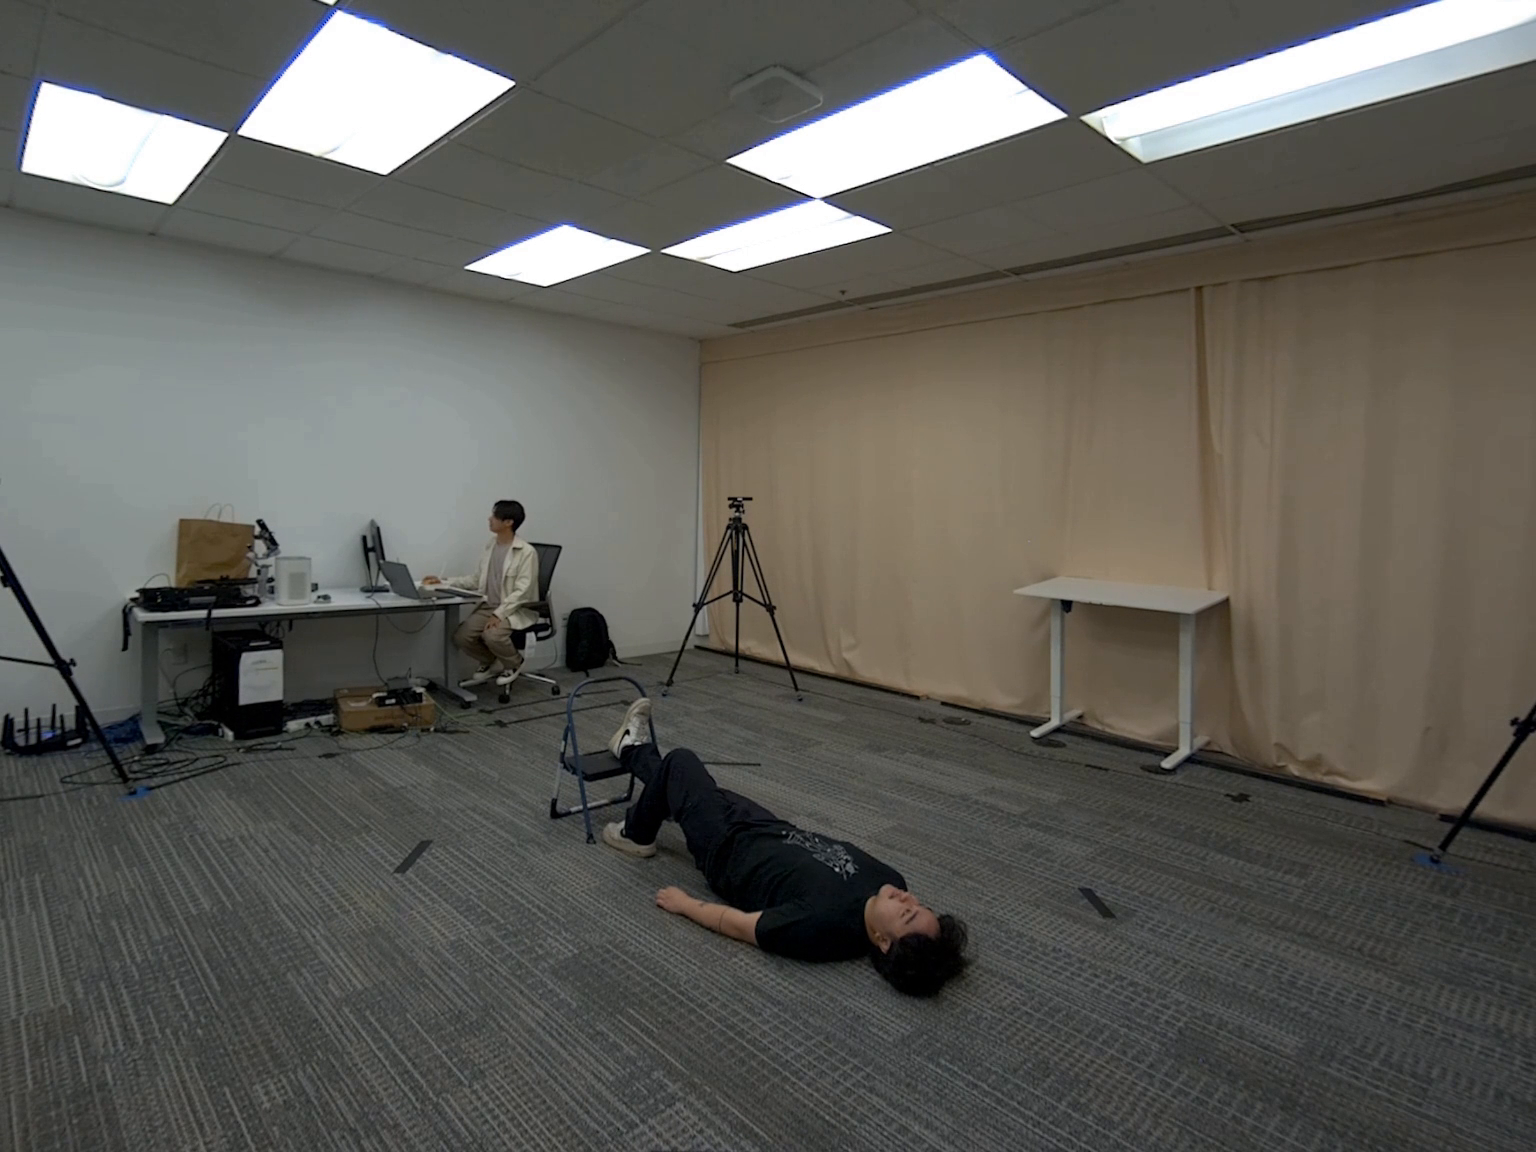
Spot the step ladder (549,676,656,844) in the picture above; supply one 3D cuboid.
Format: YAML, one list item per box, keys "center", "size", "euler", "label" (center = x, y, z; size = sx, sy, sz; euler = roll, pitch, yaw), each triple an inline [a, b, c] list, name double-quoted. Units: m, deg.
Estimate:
- center: [-0.677, 0.752, 3.619]
  size: [0.420, 0.605, 0.358]
  euler: [-1, 4, -43]
  label: "step ladder"
